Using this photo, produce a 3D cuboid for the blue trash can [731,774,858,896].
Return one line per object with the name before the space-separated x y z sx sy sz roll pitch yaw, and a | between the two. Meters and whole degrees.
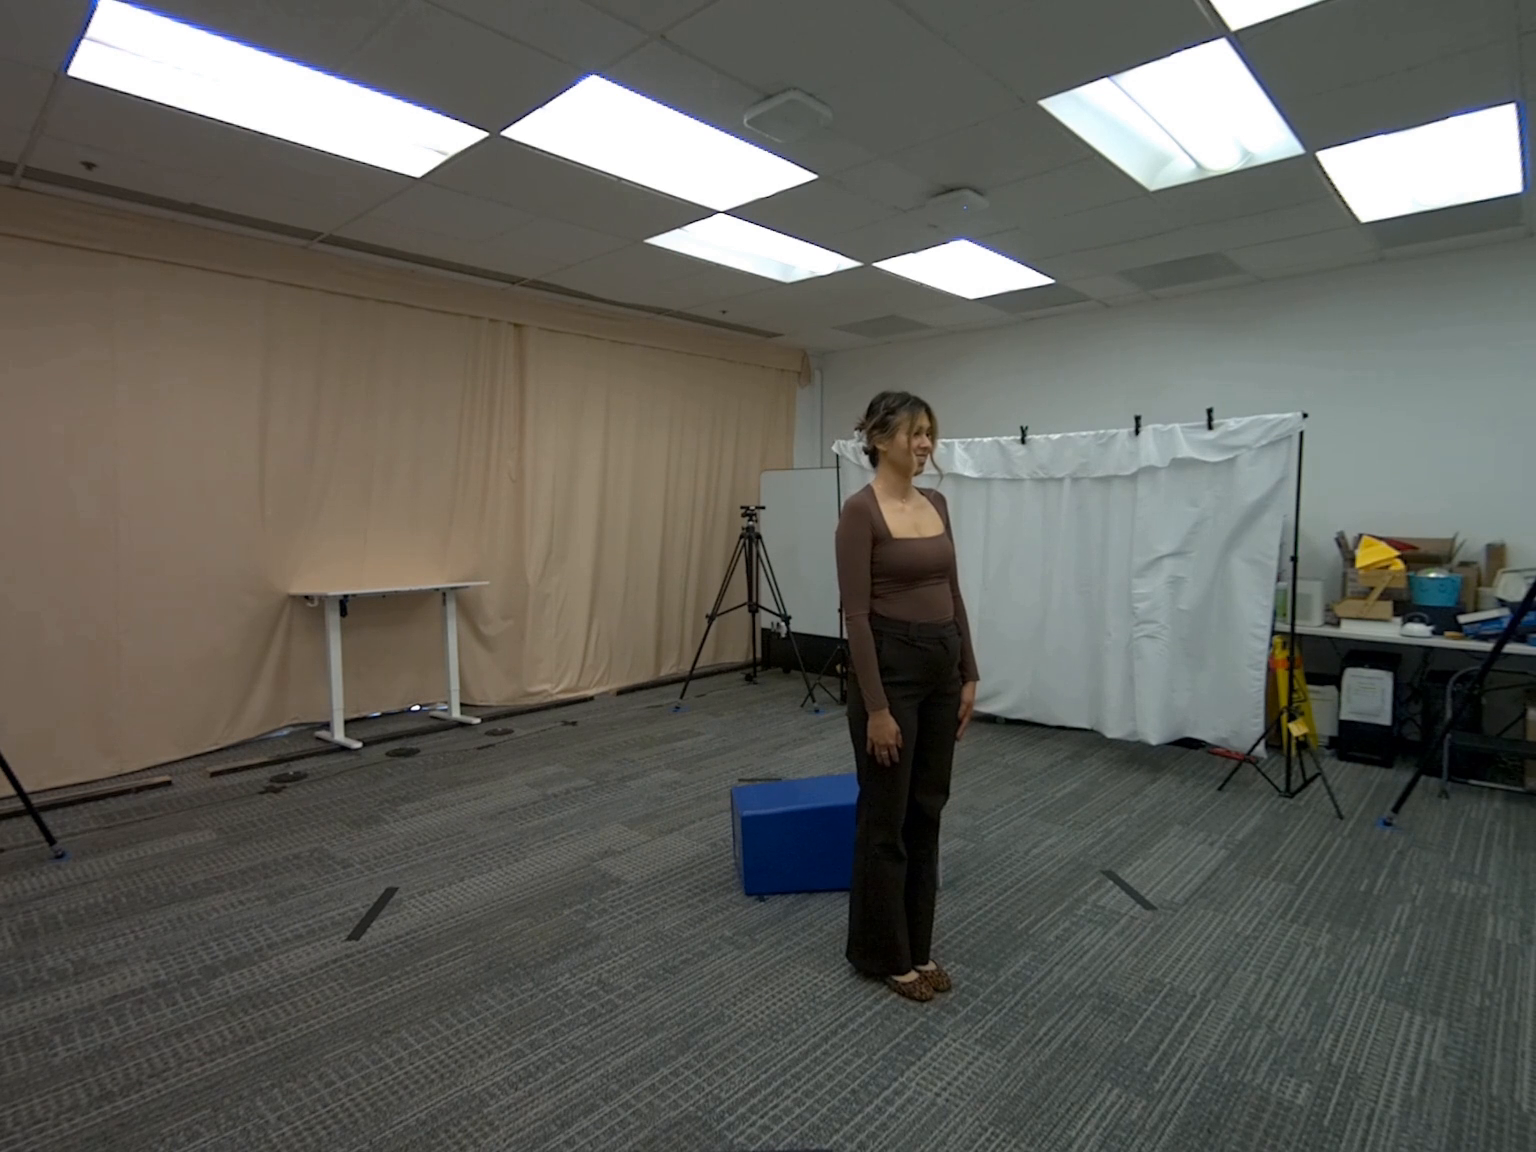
blue trash can | 0.239 0.966 3.170 0.708 0.377 0.378 -3 5 -8
